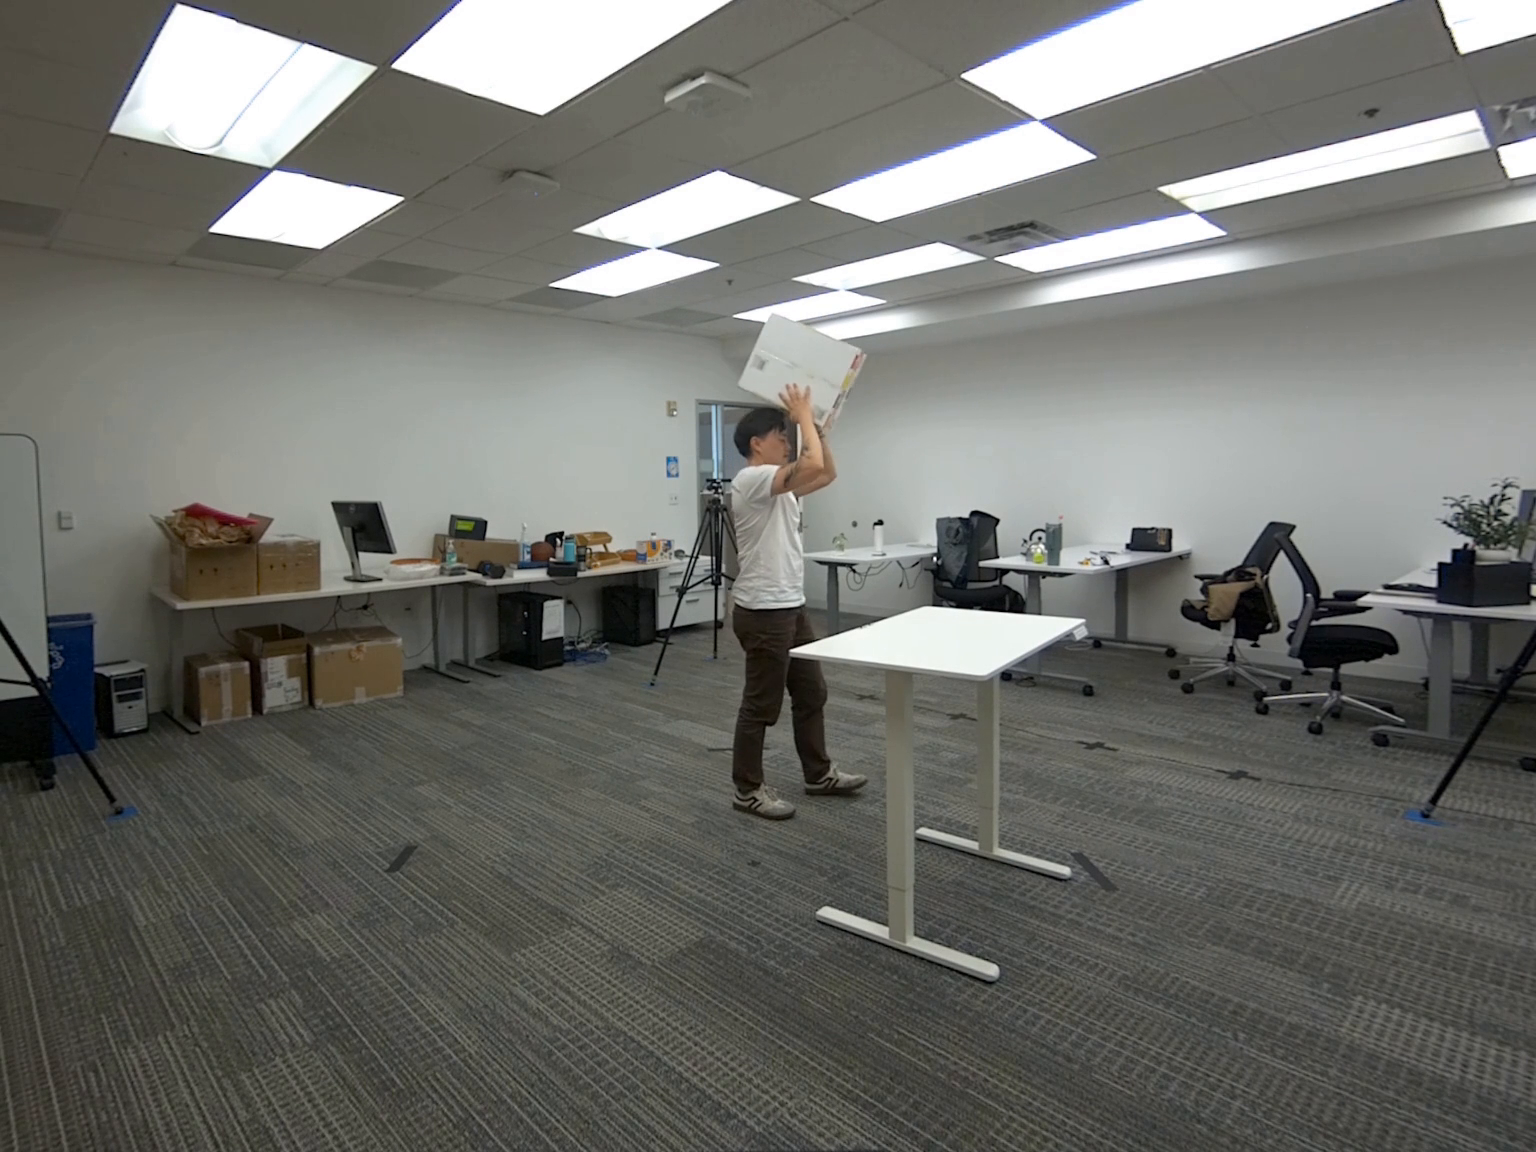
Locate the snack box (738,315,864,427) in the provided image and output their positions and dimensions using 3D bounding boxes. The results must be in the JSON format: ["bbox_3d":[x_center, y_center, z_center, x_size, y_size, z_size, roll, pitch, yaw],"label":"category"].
[{"bbox_3d":[0.146,-0.847,3.519,0.412,0.339,0.203,27,12,13],"label":"snack box"}]
